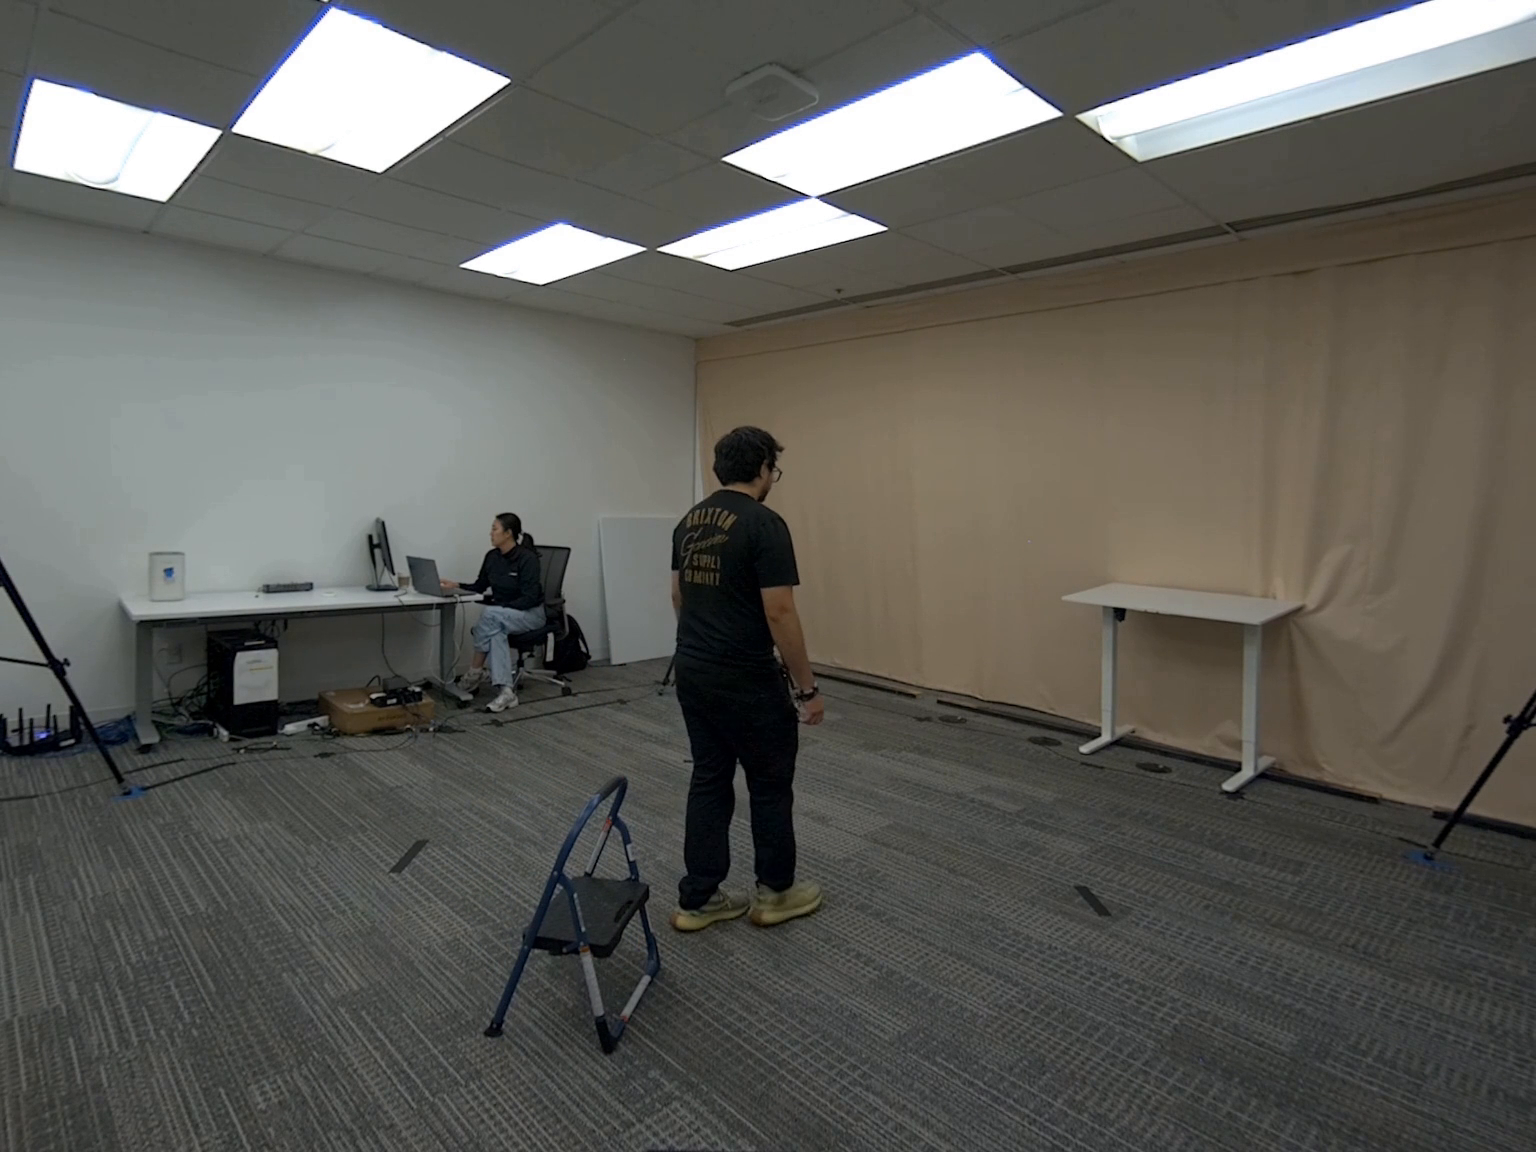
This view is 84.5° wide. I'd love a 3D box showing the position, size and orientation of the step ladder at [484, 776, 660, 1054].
[{"bbox_3d":[-0.517,0.869,2.302,0.352,0.604,0.428,2,4,10],"label":"step ladder"}]
